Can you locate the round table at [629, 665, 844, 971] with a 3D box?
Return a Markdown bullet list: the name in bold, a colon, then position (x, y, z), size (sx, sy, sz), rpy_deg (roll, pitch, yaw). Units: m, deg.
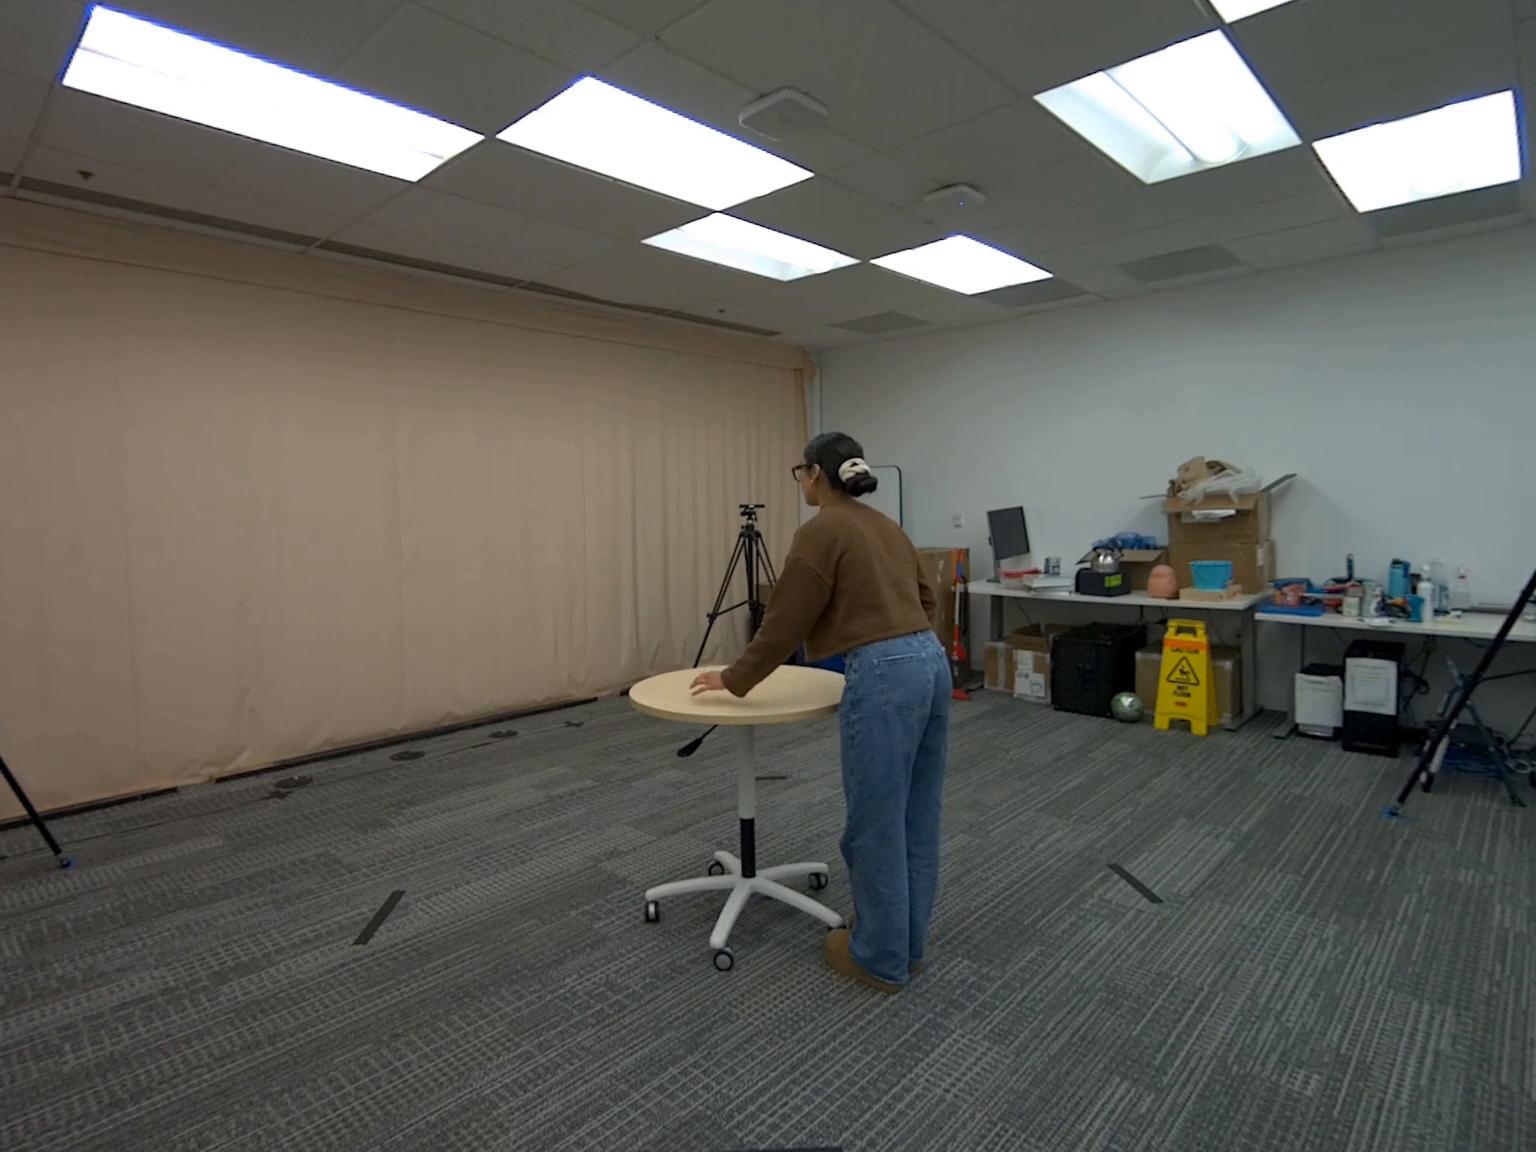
- **round table**: position (-0.068, 0.764, 2.841), size (0.763, 0.792, 0.767), rpy_deg (-2, 4, -2)
